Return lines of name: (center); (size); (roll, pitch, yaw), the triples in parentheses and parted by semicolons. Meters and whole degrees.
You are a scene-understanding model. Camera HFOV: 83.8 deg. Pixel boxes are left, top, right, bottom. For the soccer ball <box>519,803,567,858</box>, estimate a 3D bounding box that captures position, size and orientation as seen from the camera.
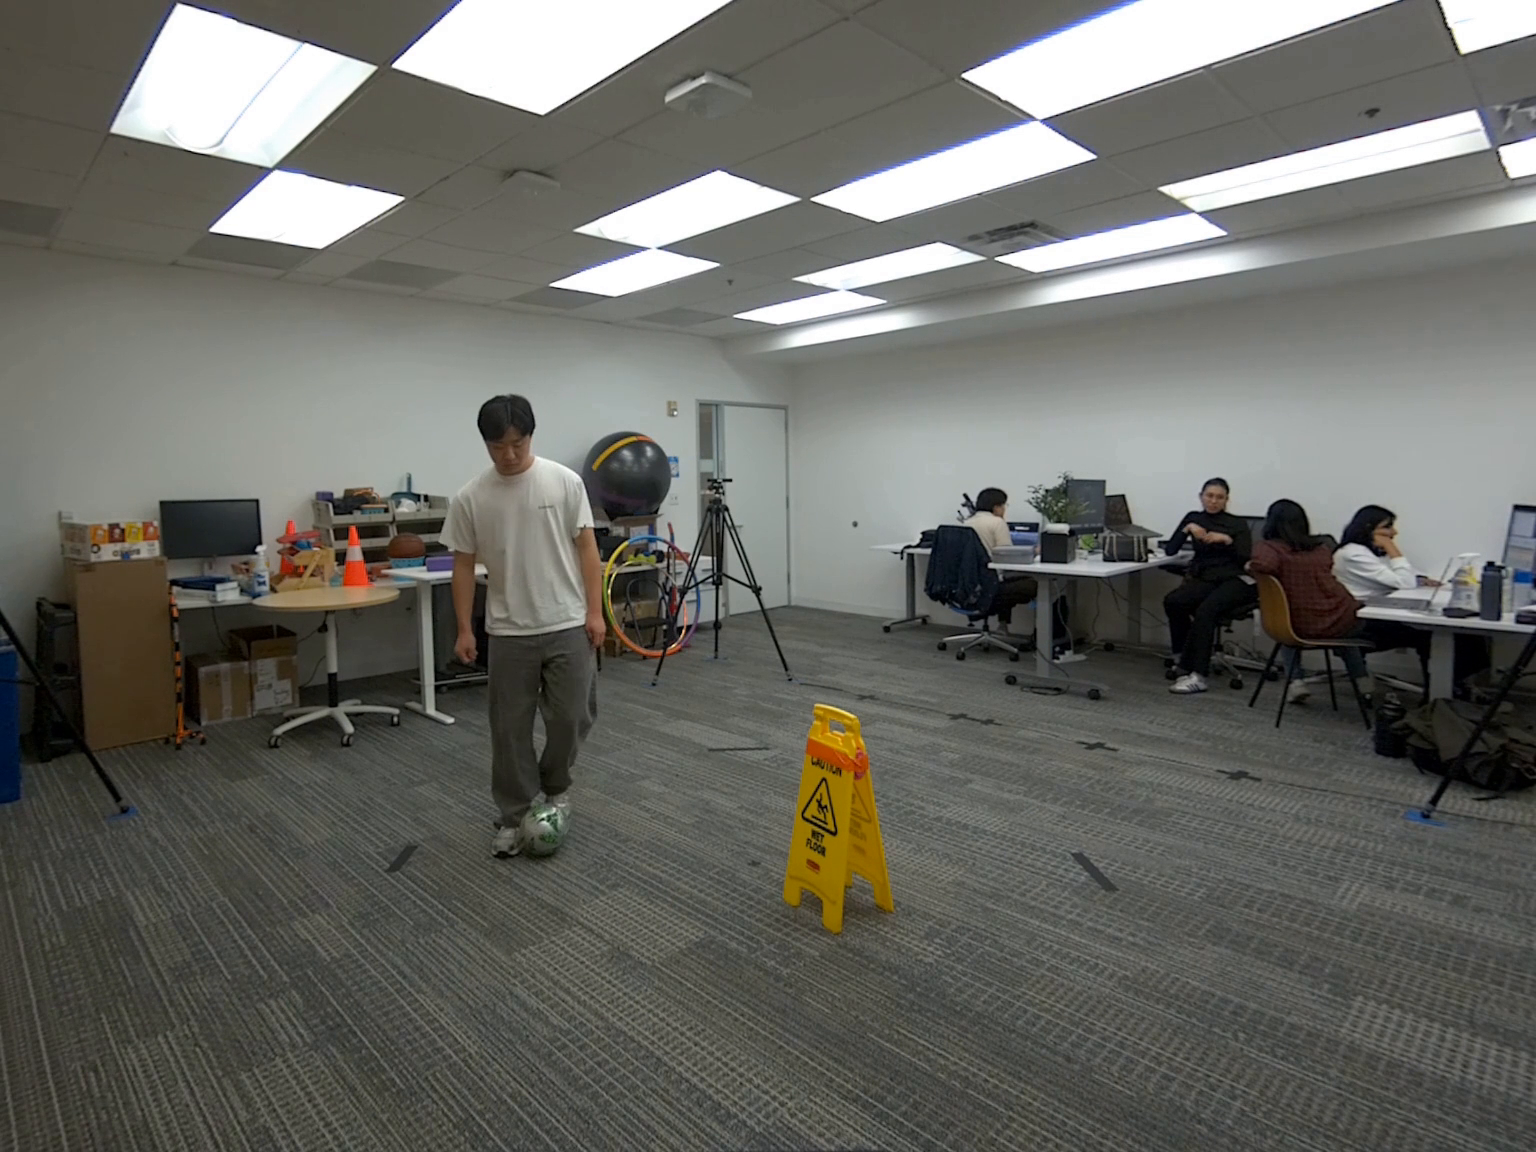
soccer ball: (-0.837, 0.957, 3.218); (0.187, 0.187, 0.188); (-1, 5, -2)
